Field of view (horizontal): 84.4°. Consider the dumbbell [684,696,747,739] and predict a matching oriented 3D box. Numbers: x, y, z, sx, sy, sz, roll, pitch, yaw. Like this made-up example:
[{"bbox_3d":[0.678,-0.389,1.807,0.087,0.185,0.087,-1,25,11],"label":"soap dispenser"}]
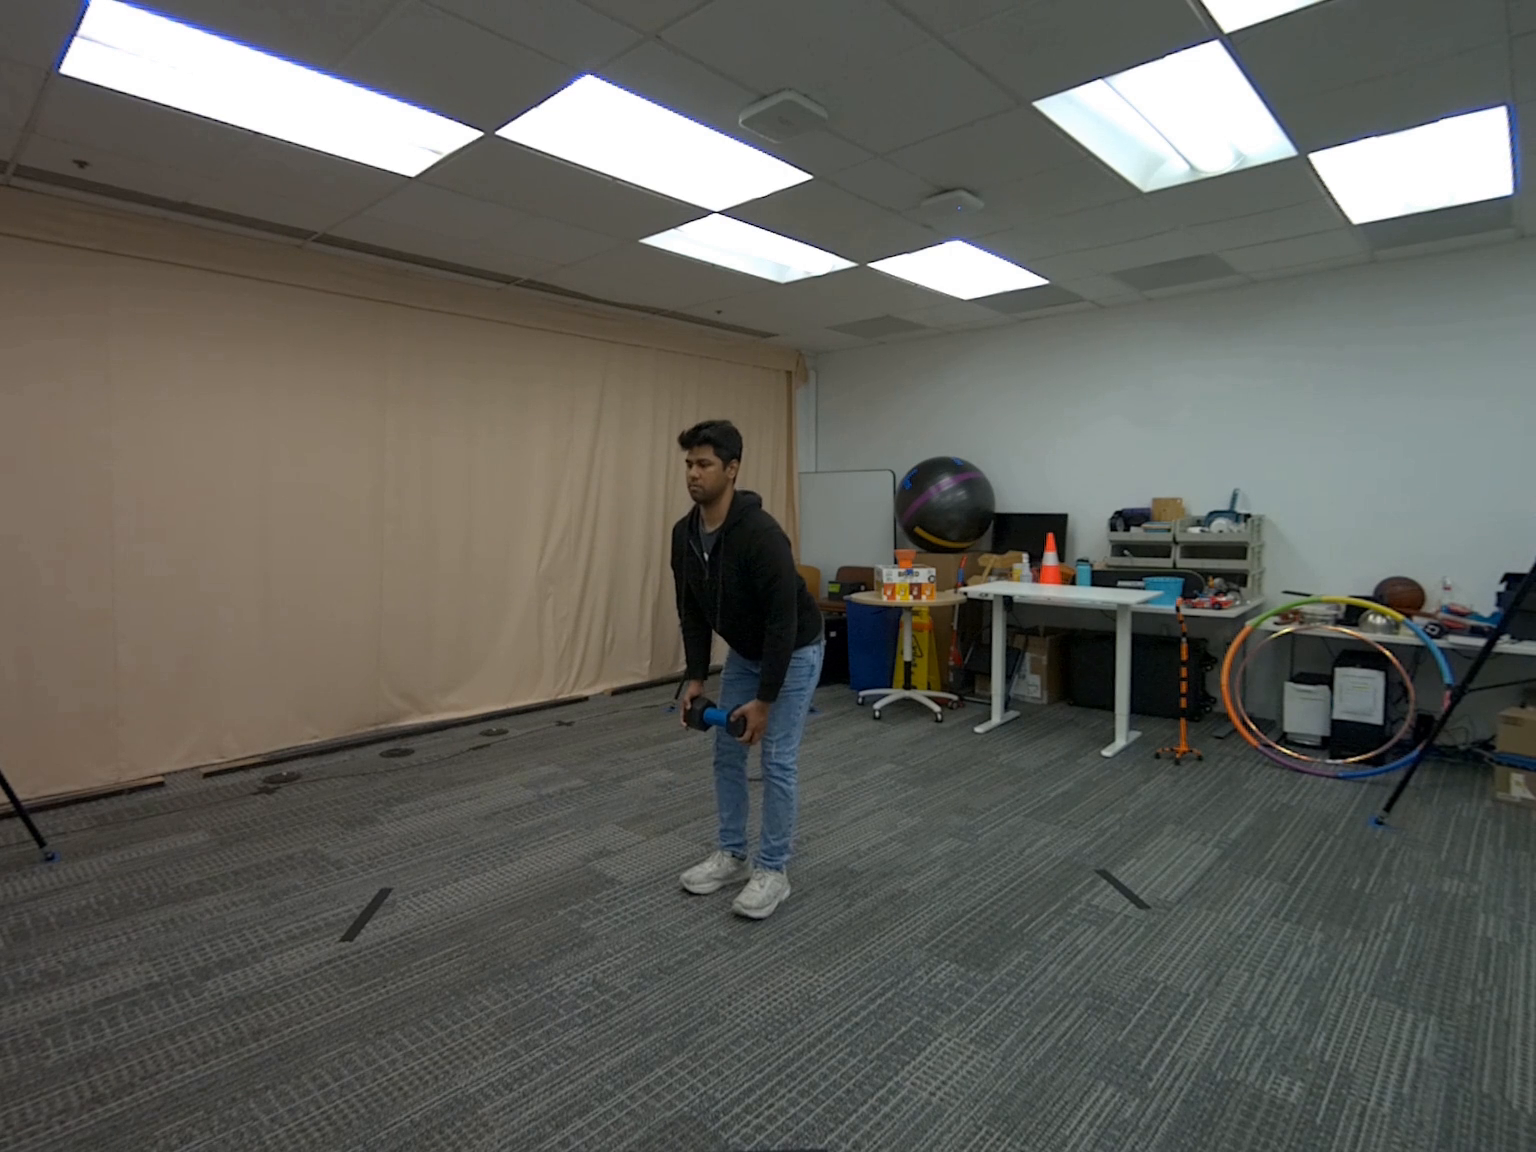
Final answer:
[{"bbox_3d":[-0.146,0.504,2.938,0.303,0.109,0.118,1,-27,45],"label":"dumbbell"}]
